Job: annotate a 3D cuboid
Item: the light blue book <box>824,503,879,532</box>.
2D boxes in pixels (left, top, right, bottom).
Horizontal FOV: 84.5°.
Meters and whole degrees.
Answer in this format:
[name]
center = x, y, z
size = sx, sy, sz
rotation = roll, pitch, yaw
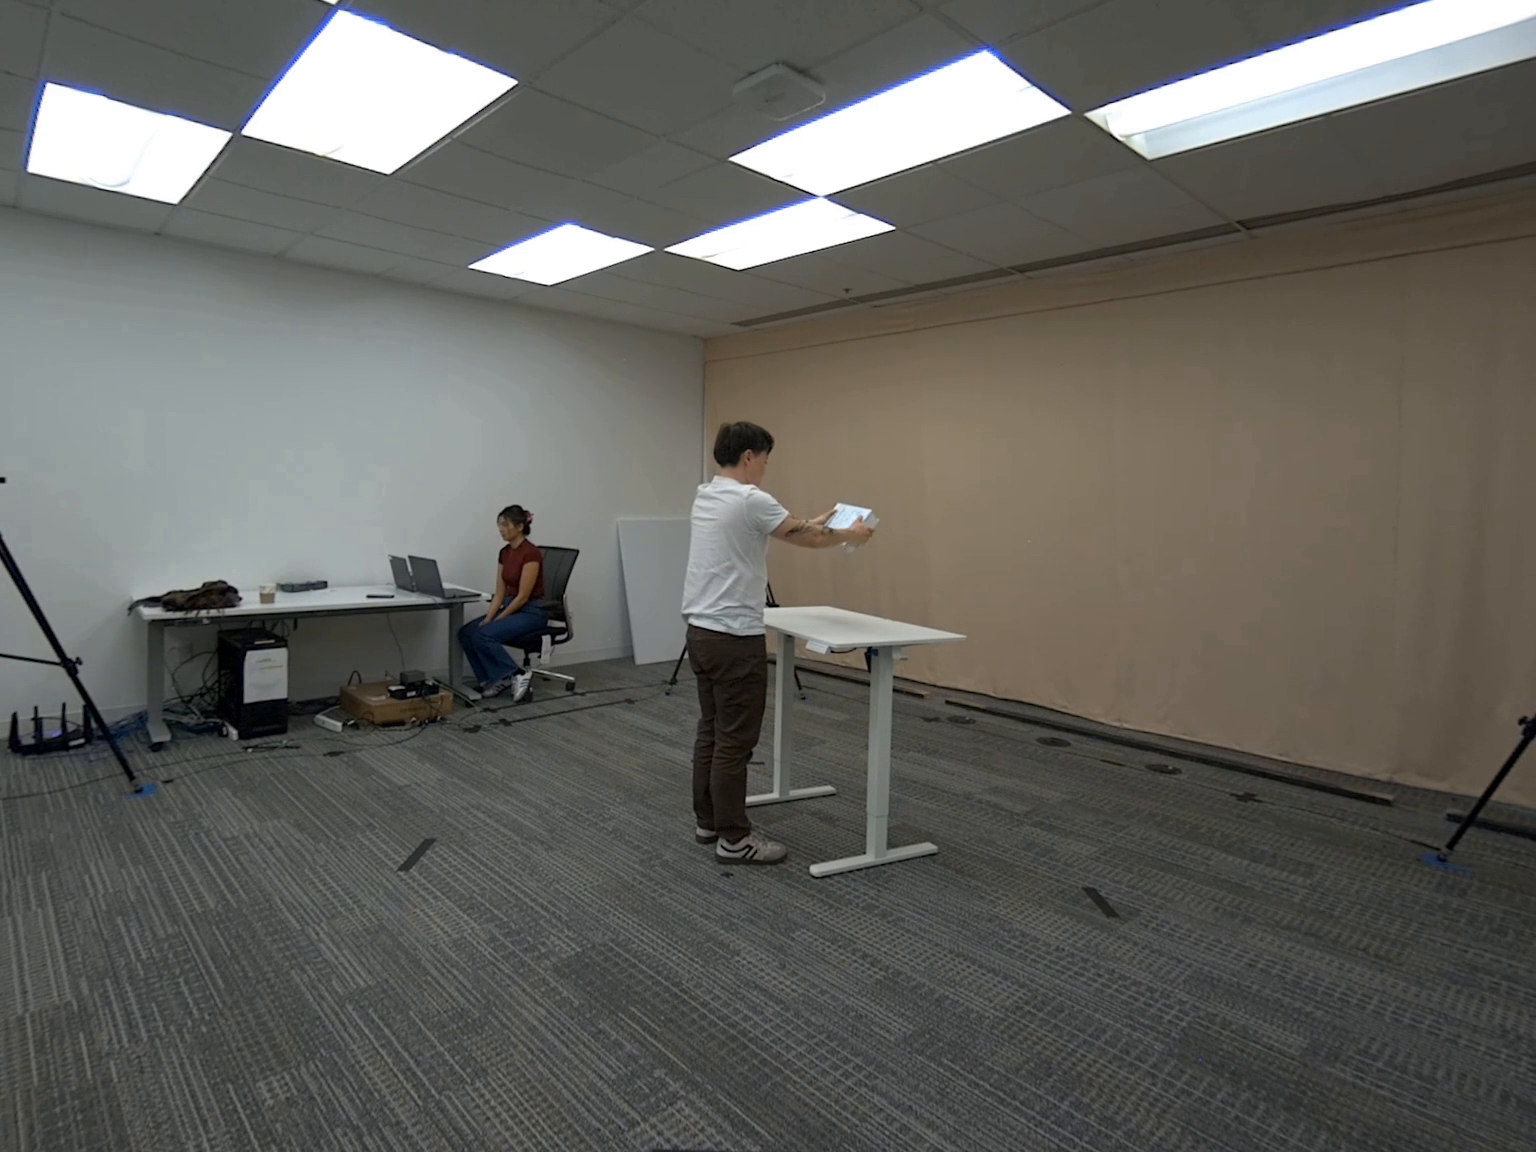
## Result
[light blue book]
center = 0.312, -0.208, 3.543
size = 0.057, 0.191, 0.267
rotation = 43, -9, -27
